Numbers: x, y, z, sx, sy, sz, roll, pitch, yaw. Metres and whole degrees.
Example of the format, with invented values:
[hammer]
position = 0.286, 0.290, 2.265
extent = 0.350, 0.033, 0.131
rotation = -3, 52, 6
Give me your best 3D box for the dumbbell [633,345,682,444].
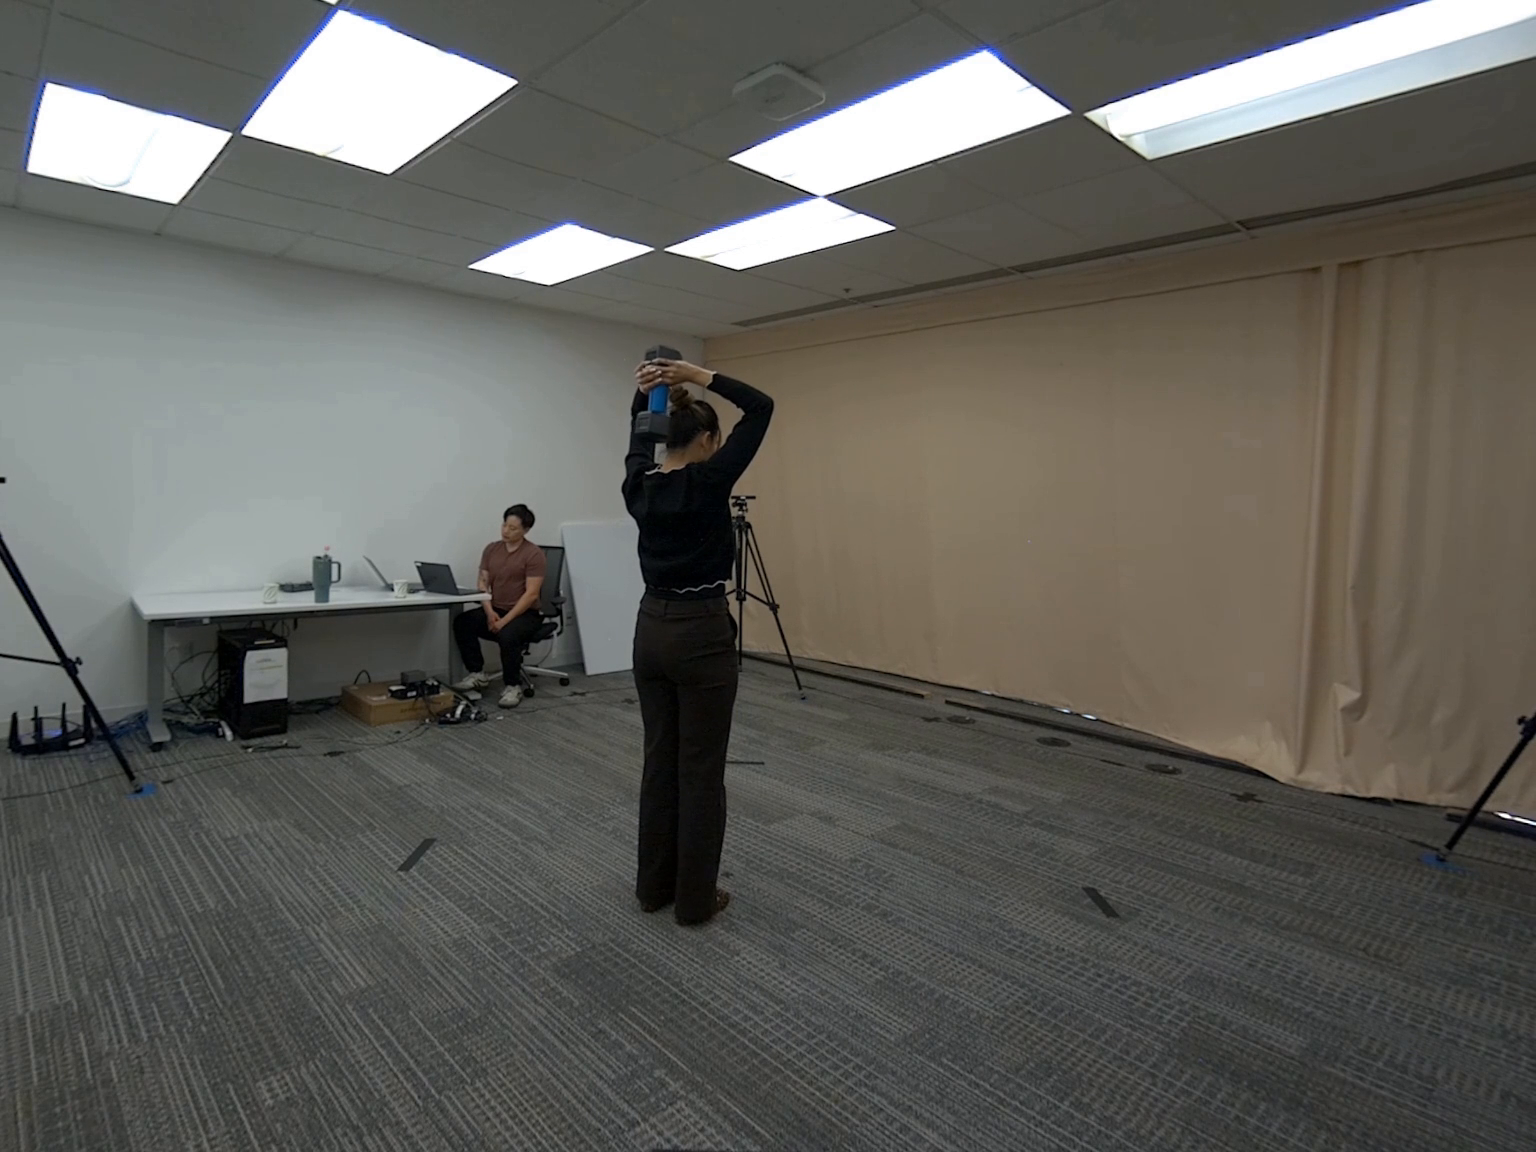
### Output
[dumbbell]
position = -0.348, -0.570, 2.642
extent = 0.109, 0.295, 0.121
rotation = 7, -7, 7
